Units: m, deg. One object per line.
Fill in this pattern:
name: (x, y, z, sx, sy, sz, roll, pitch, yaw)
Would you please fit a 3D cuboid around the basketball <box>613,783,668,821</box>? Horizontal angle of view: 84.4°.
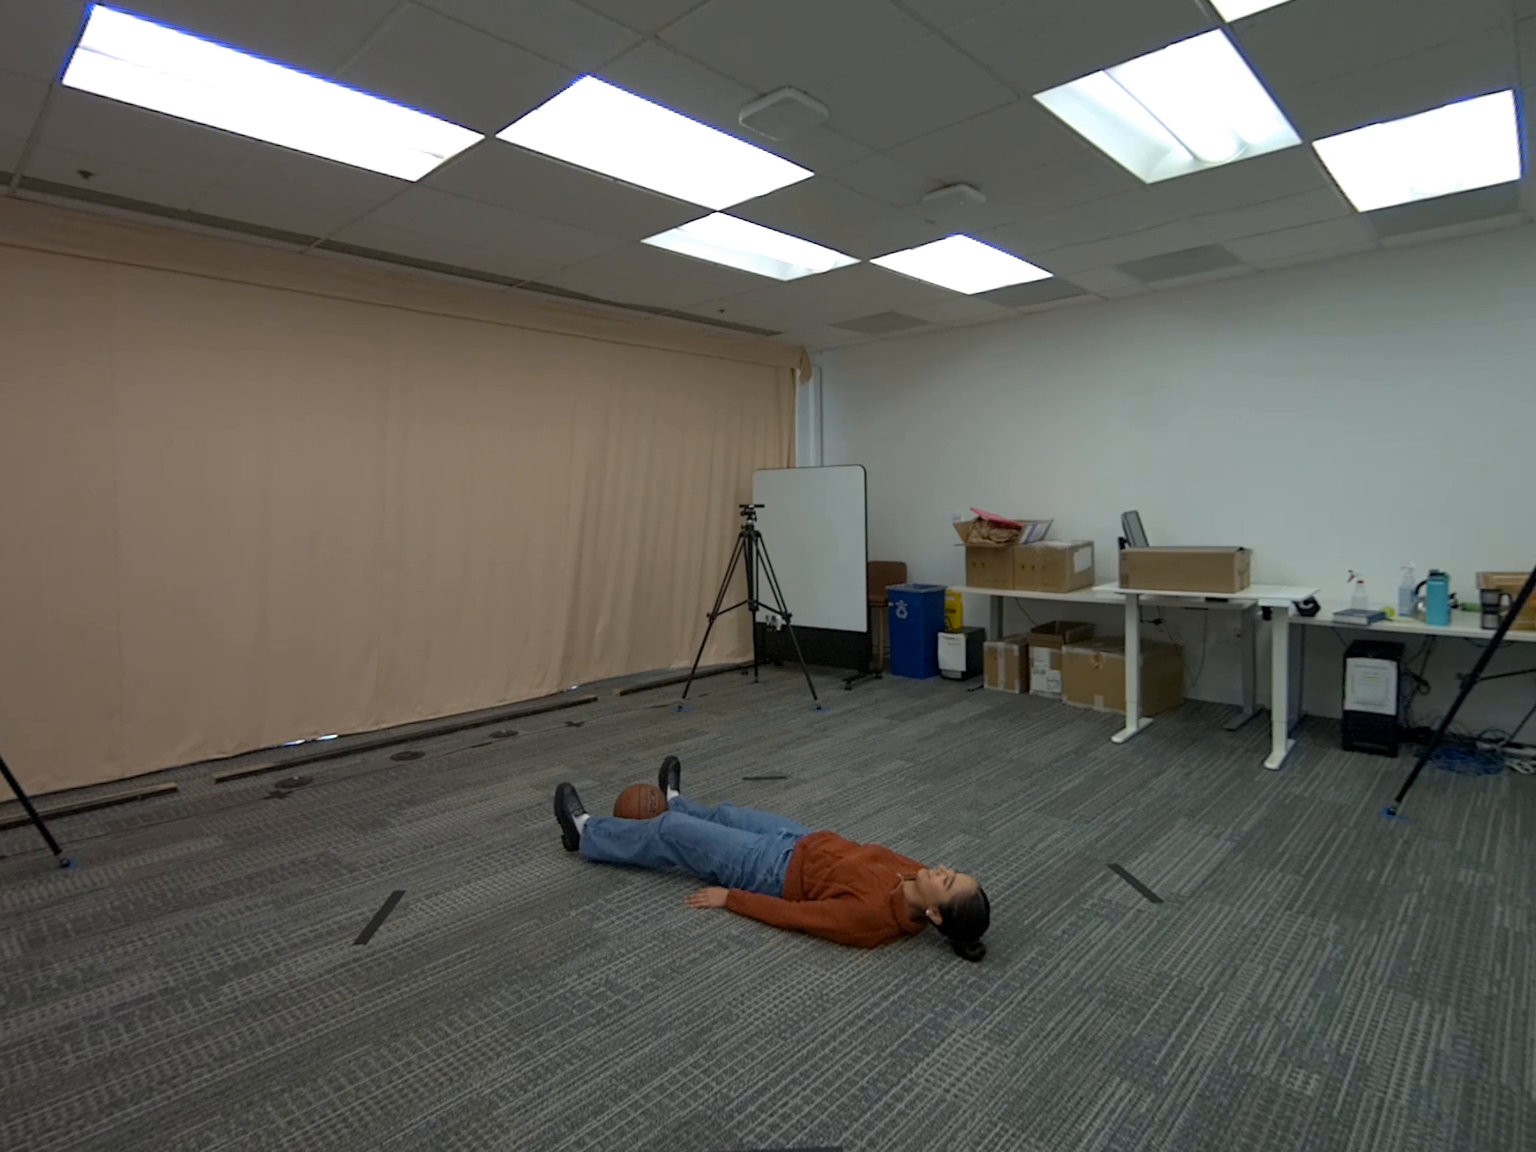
basketball: (-0.523, 0.989, 3.524, 0.236, 0.235, 0.237, -1, 4, -2)
